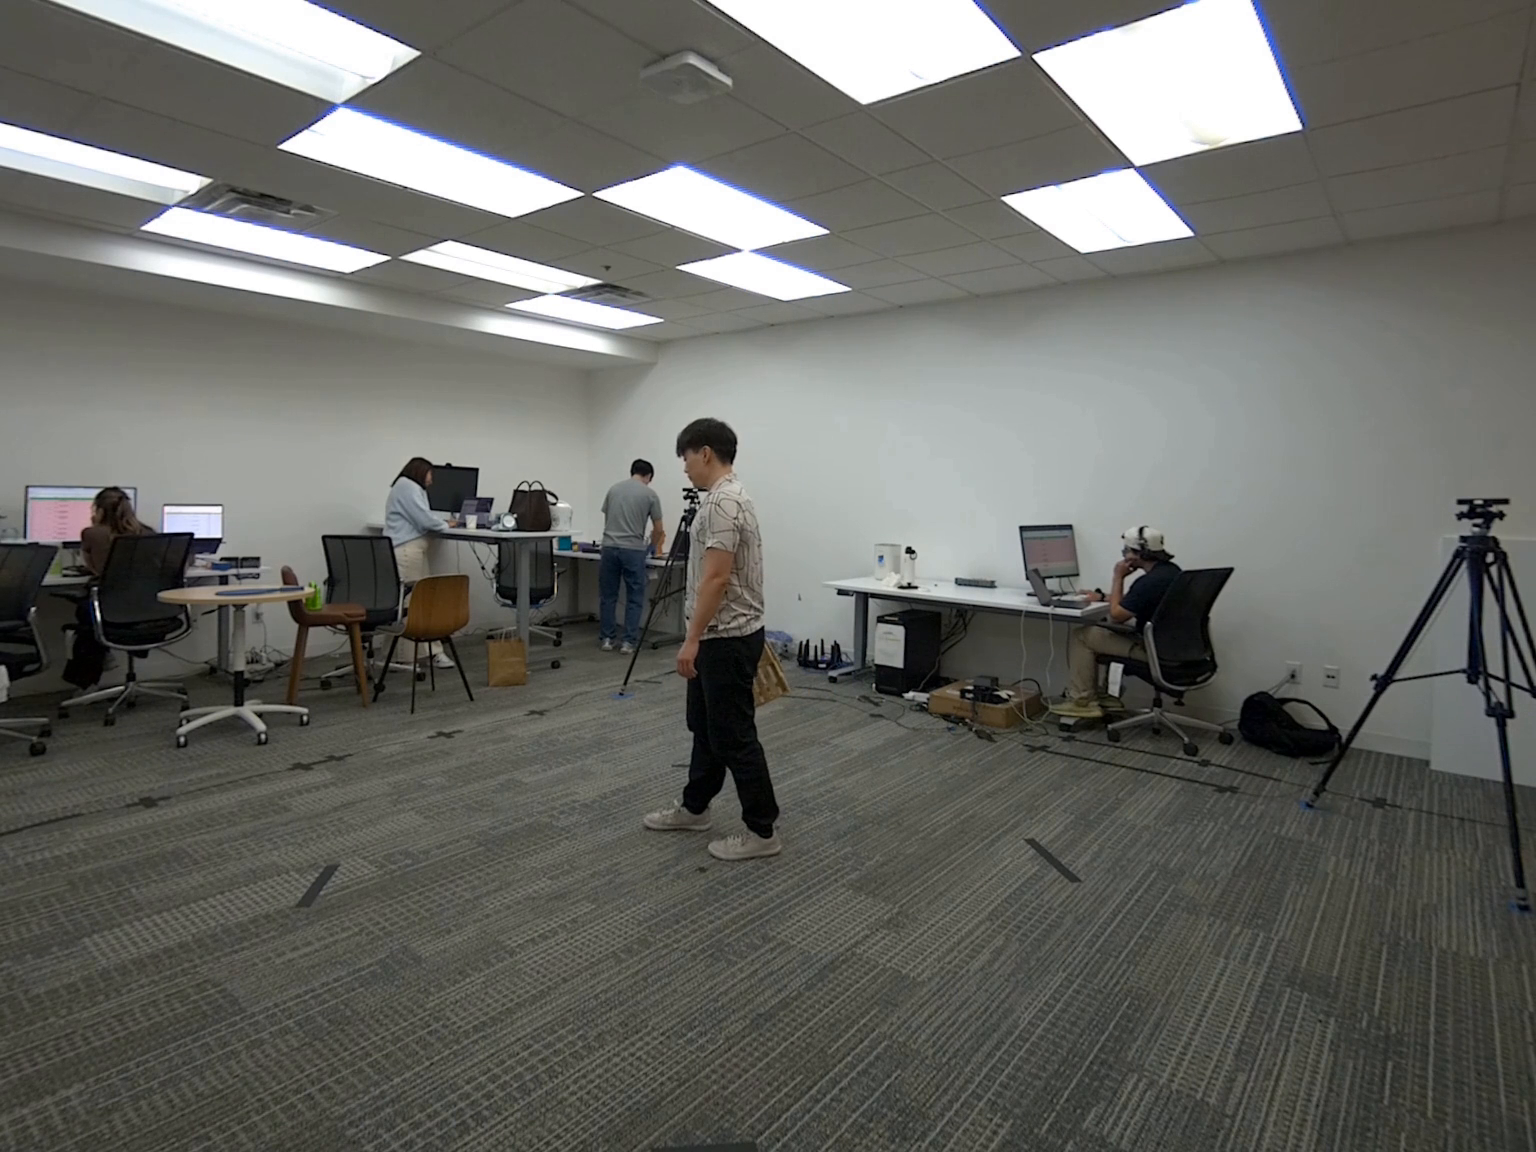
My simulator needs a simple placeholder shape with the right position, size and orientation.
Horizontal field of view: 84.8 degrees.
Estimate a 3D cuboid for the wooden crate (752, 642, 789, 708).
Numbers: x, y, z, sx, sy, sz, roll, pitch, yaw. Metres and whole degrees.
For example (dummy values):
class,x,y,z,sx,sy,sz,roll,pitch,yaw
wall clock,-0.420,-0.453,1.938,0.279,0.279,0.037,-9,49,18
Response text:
class,x,y,z,sx,sy,sz,roll,pitch,yaw
wooden crate,-0.131,0.405,3.681,0.325,0.312,0.264,-27,-29,3
